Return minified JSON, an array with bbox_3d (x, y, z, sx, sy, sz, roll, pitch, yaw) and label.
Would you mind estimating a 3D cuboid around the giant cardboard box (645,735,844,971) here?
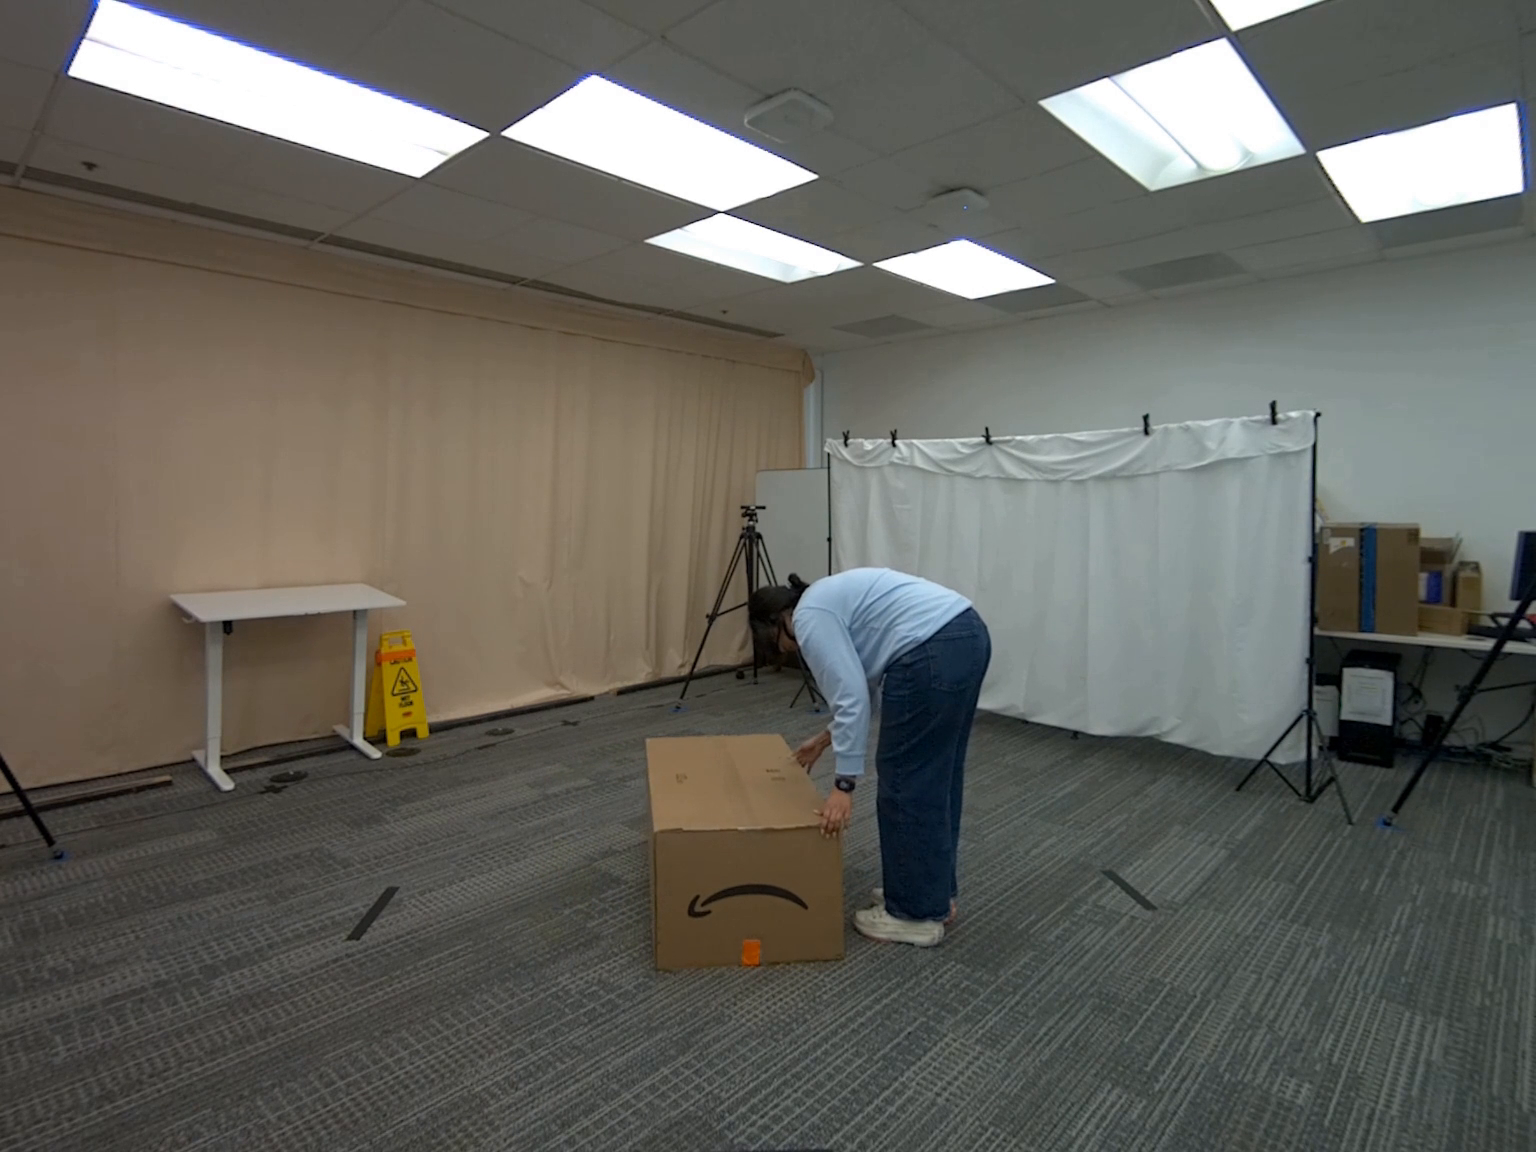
[{"bbox_3d":[-0.140,0.927,3.044,0.573,0.425,1.036,0,5,-8],"label":"giant cardboard box"}]
